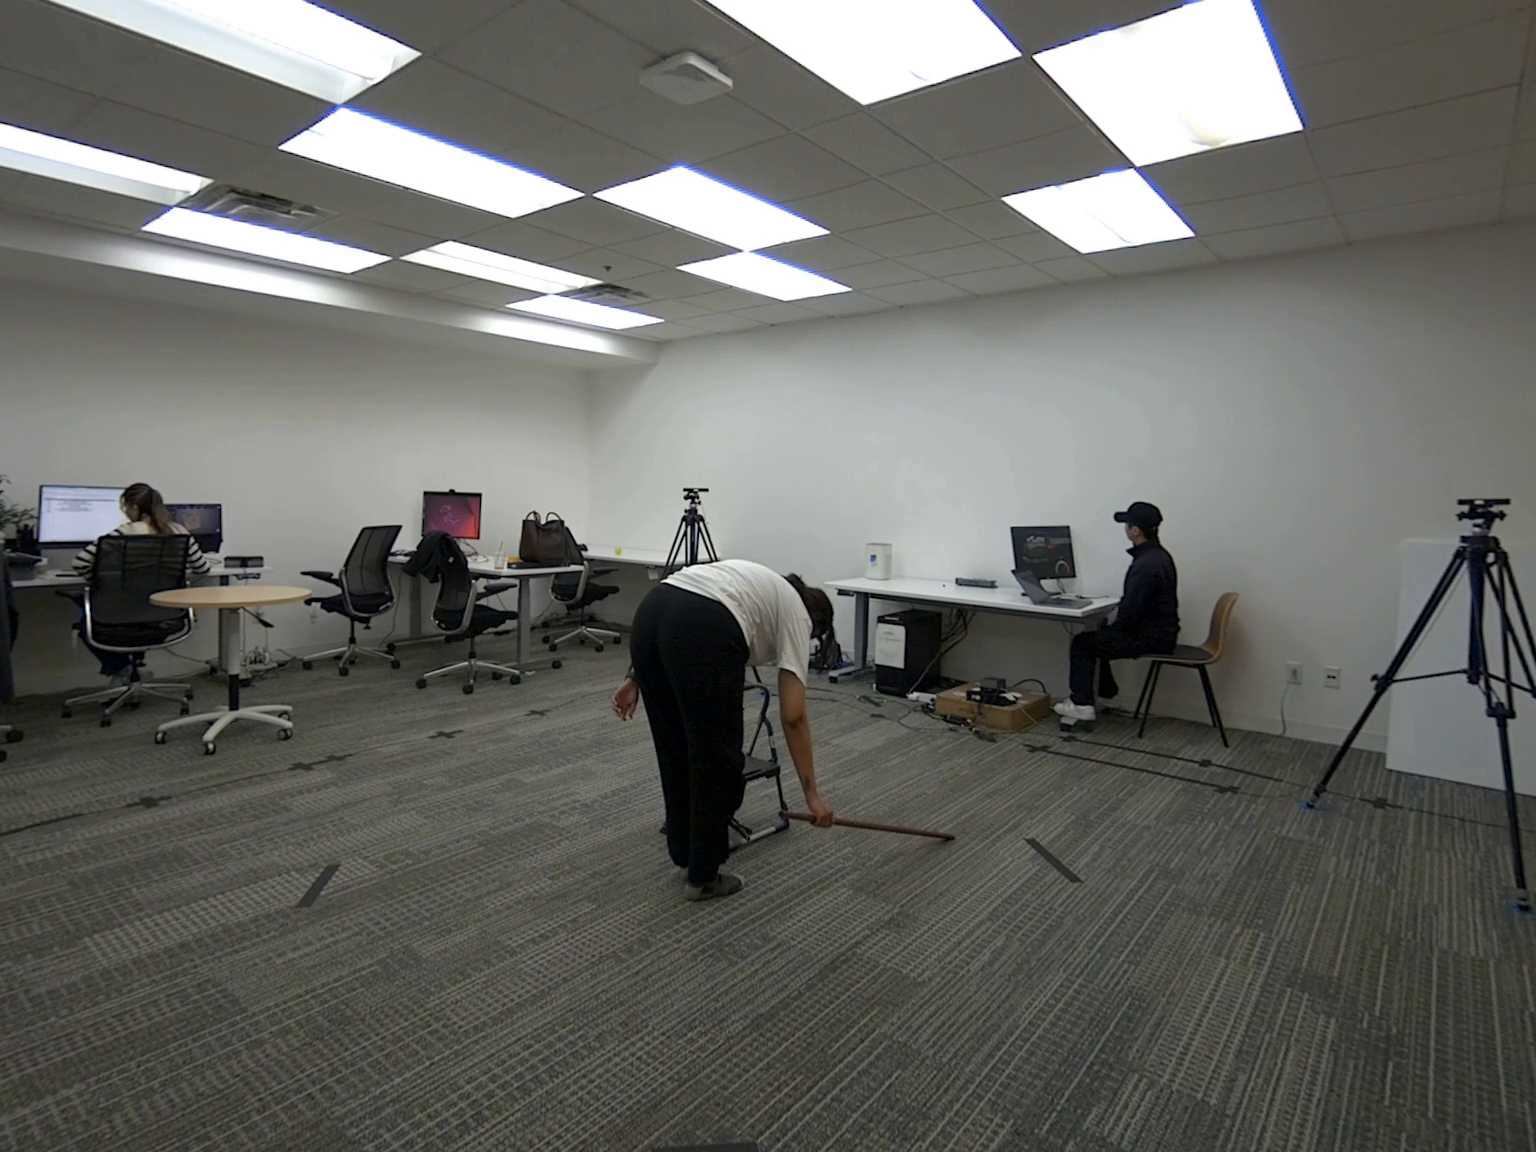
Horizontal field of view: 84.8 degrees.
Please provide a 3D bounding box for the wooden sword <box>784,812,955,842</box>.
[{"bbox_3d":[0.386,0.921,3.143,0.985,0.024,0.053,21,8,-41],"label":"wooden sword"}]
